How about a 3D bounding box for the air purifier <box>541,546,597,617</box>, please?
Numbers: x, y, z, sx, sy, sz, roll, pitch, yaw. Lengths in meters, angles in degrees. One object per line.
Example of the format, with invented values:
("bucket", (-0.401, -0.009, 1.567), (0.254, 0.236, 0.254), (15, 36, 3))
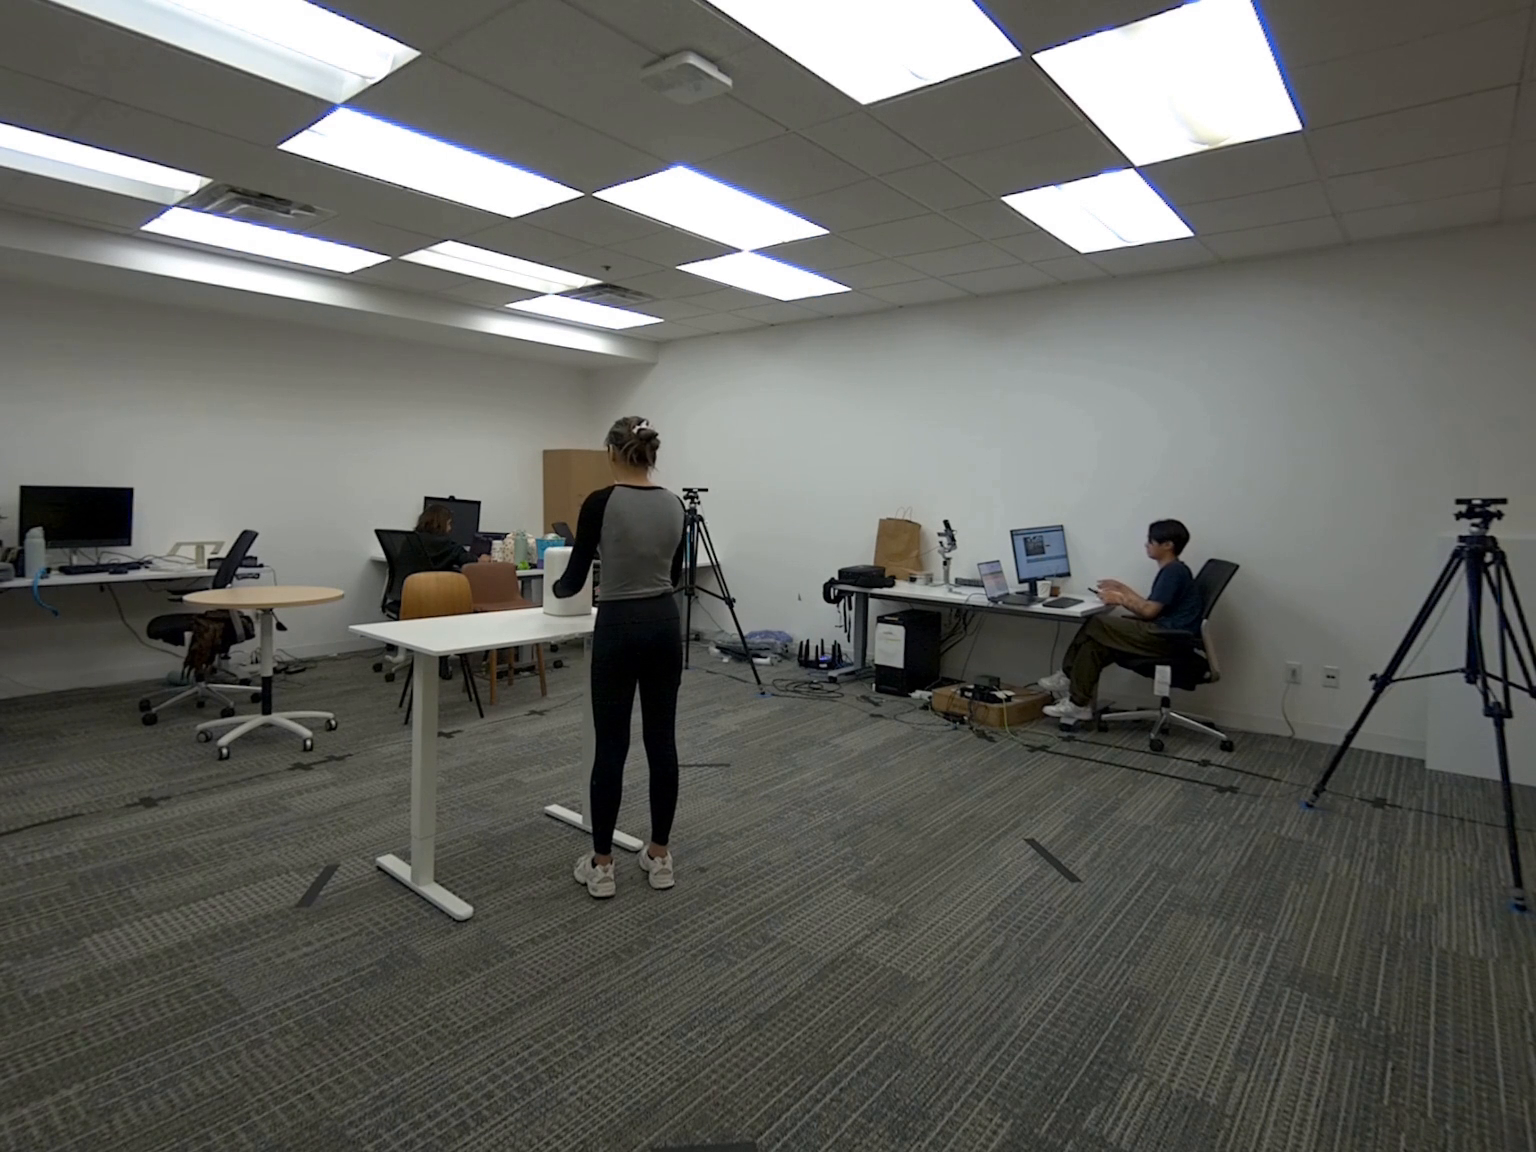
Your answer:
("air purifier", (-0.820, 0.016, 3.431), (0.166, 0.265, 0.177), (0, 3, -39))
